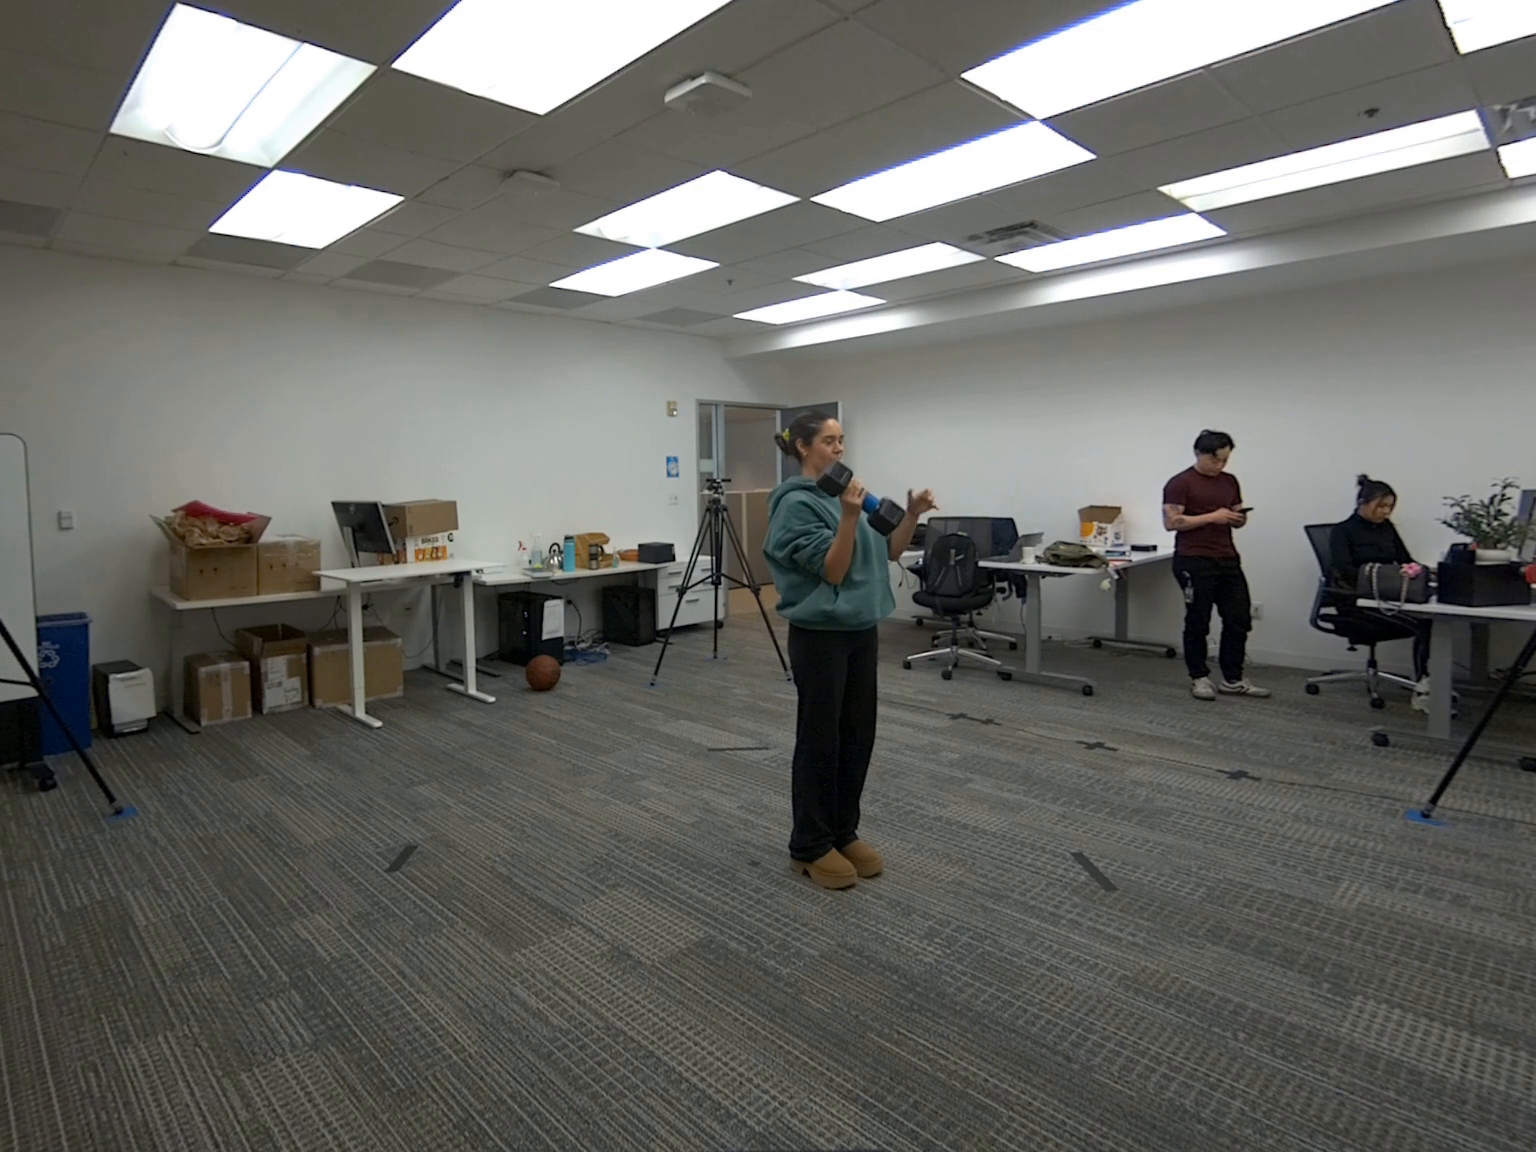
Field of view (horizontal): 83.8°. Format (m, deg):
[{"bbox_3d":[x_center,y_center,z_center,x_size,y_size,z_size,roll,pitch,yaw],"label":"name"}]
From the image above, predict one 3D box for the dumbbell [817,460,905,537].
[{"bbox_3d":[0.294,-0.248,2.731,0.123,0.291,0.110,-47,10,40],"label":"dumbbell"}]
